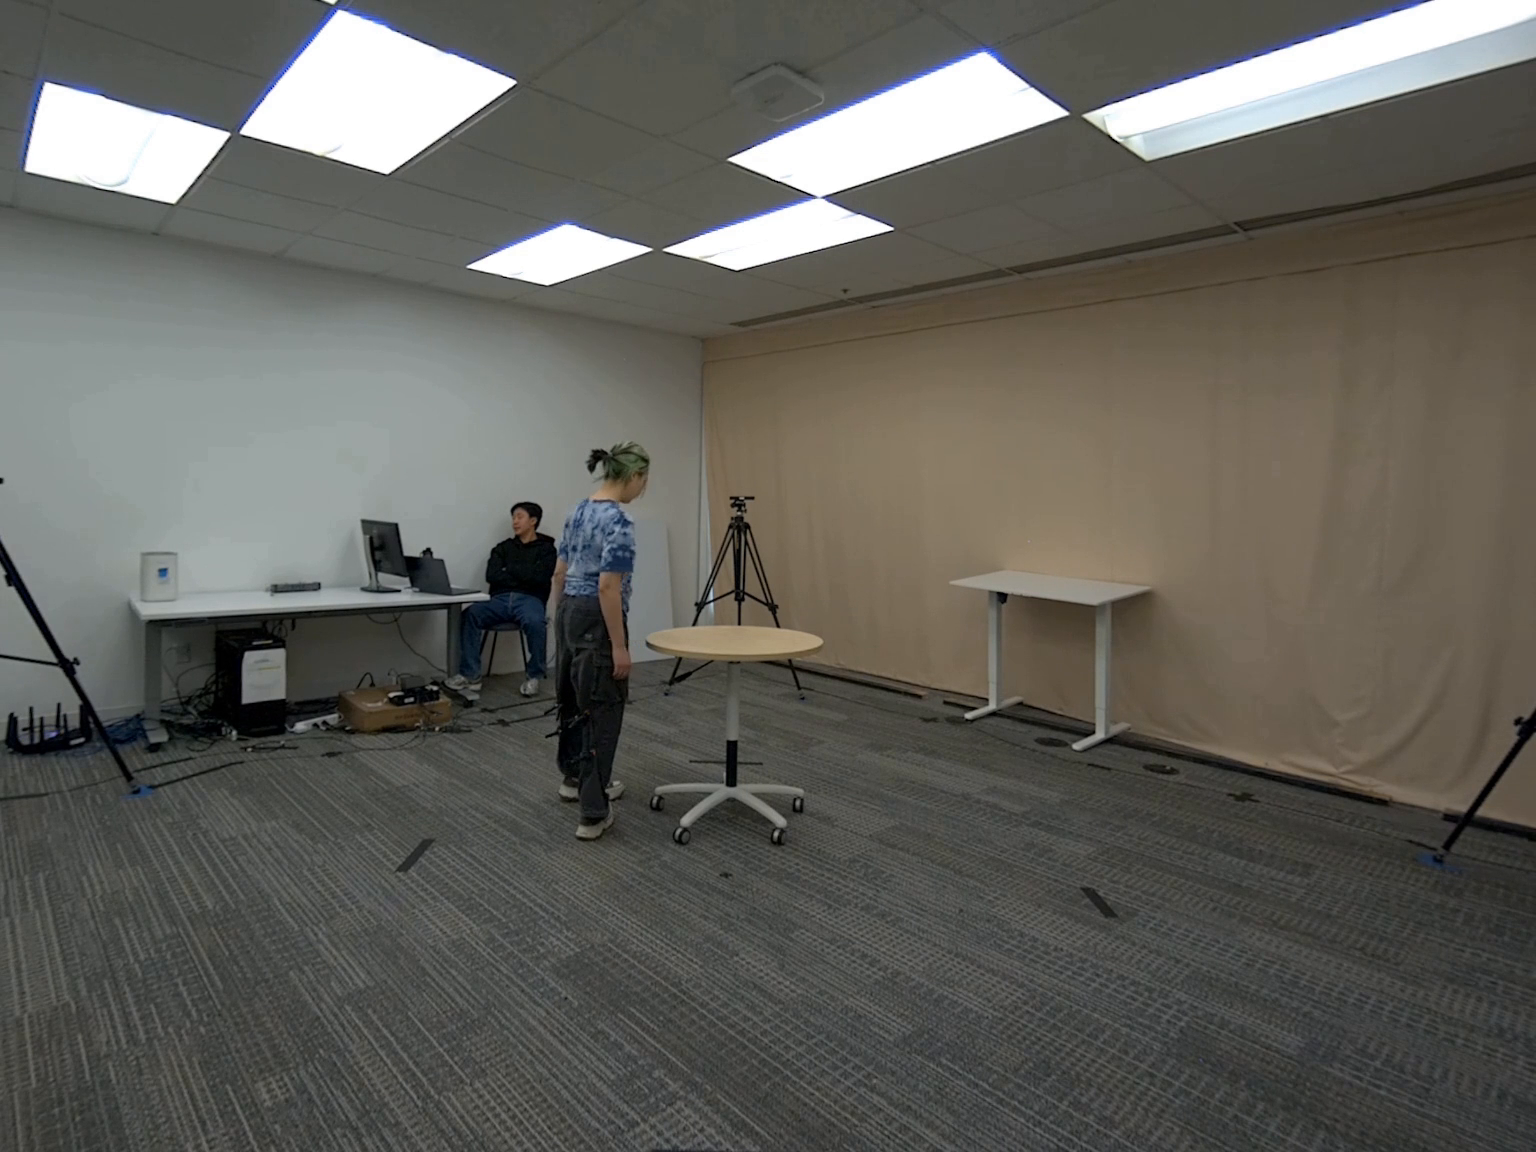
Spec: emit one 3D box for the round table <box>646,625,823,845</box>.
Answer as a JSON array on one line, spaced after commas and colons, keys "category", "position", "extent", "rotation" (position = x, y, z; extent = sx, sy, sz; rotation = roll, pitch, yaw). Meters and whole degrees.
[{"category": "round table", "position": [-0.165, 0.666, 3.658], "extent": [0.763, 0.792, 0.766], "rotation": [1, 3, -1]}]
